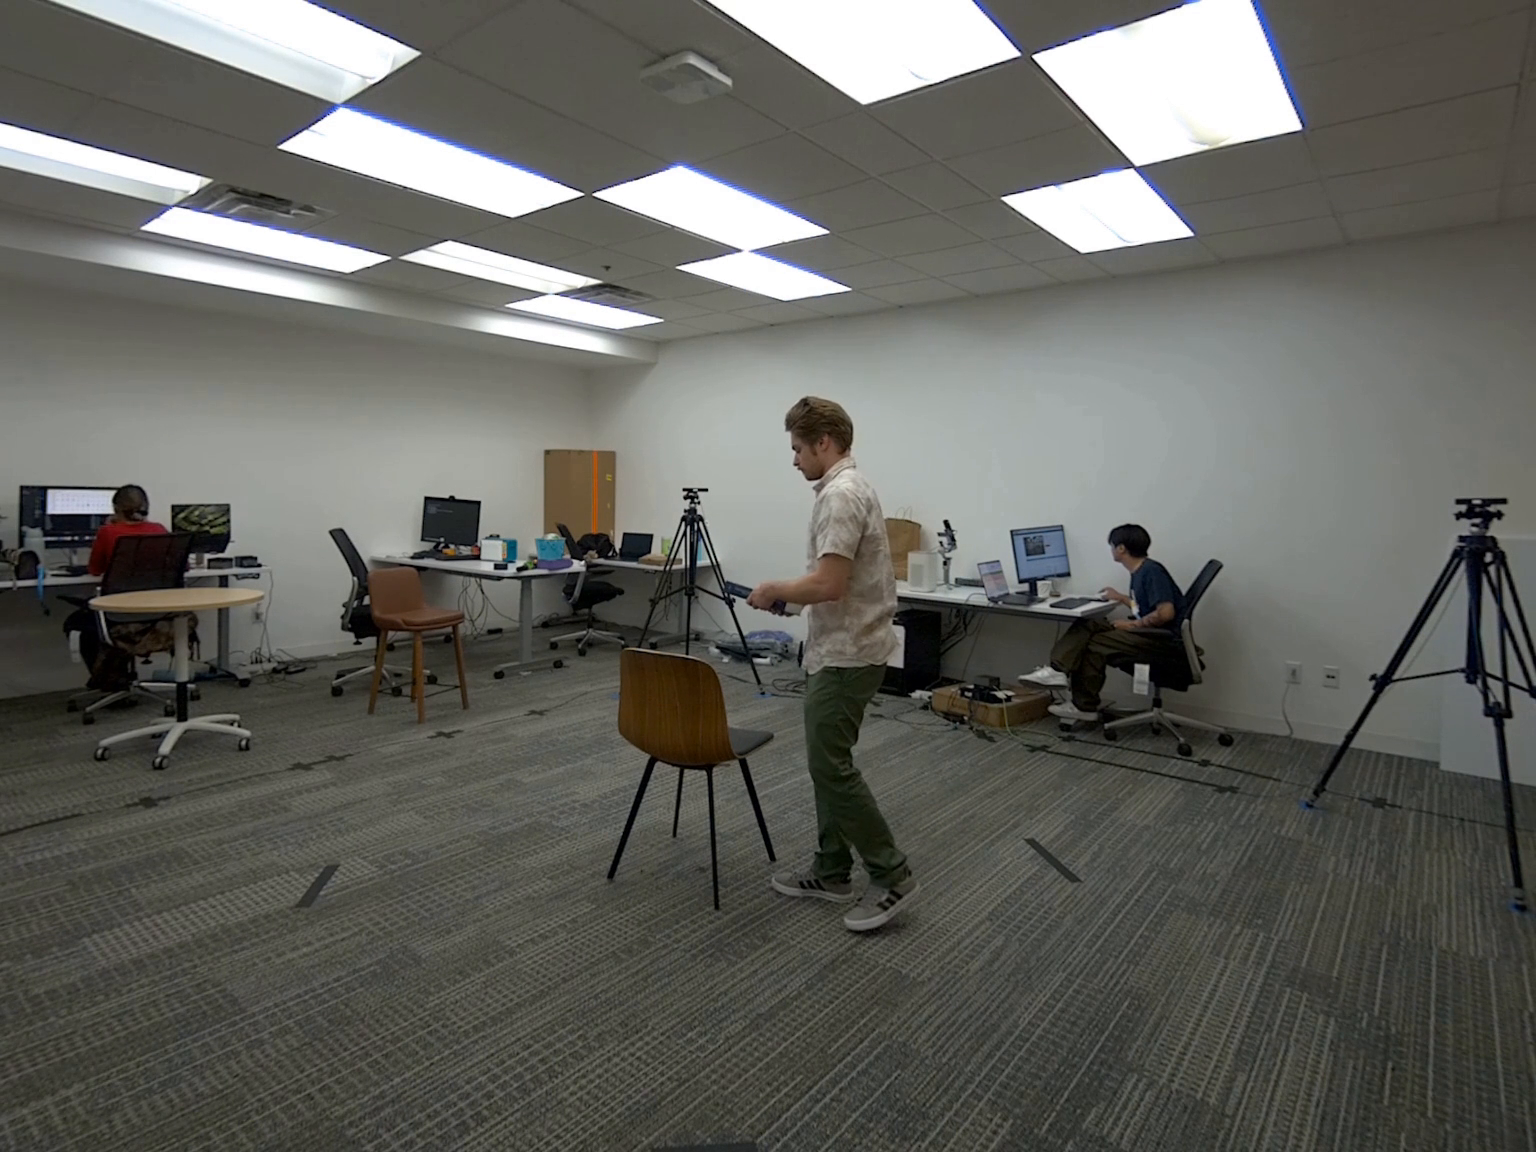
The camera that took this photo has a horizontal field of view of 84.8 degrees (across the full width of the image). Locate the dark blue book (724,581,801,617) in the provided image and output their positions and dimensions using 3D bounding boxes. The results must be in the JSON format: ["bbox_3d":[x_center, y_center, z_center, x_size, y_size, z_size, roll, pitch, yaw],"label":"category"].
[{"bbox_3d":[-0.025,0.079,2.983,0.253,0.045,0.158,18,-1,26],"label":"dark blue book"}]
